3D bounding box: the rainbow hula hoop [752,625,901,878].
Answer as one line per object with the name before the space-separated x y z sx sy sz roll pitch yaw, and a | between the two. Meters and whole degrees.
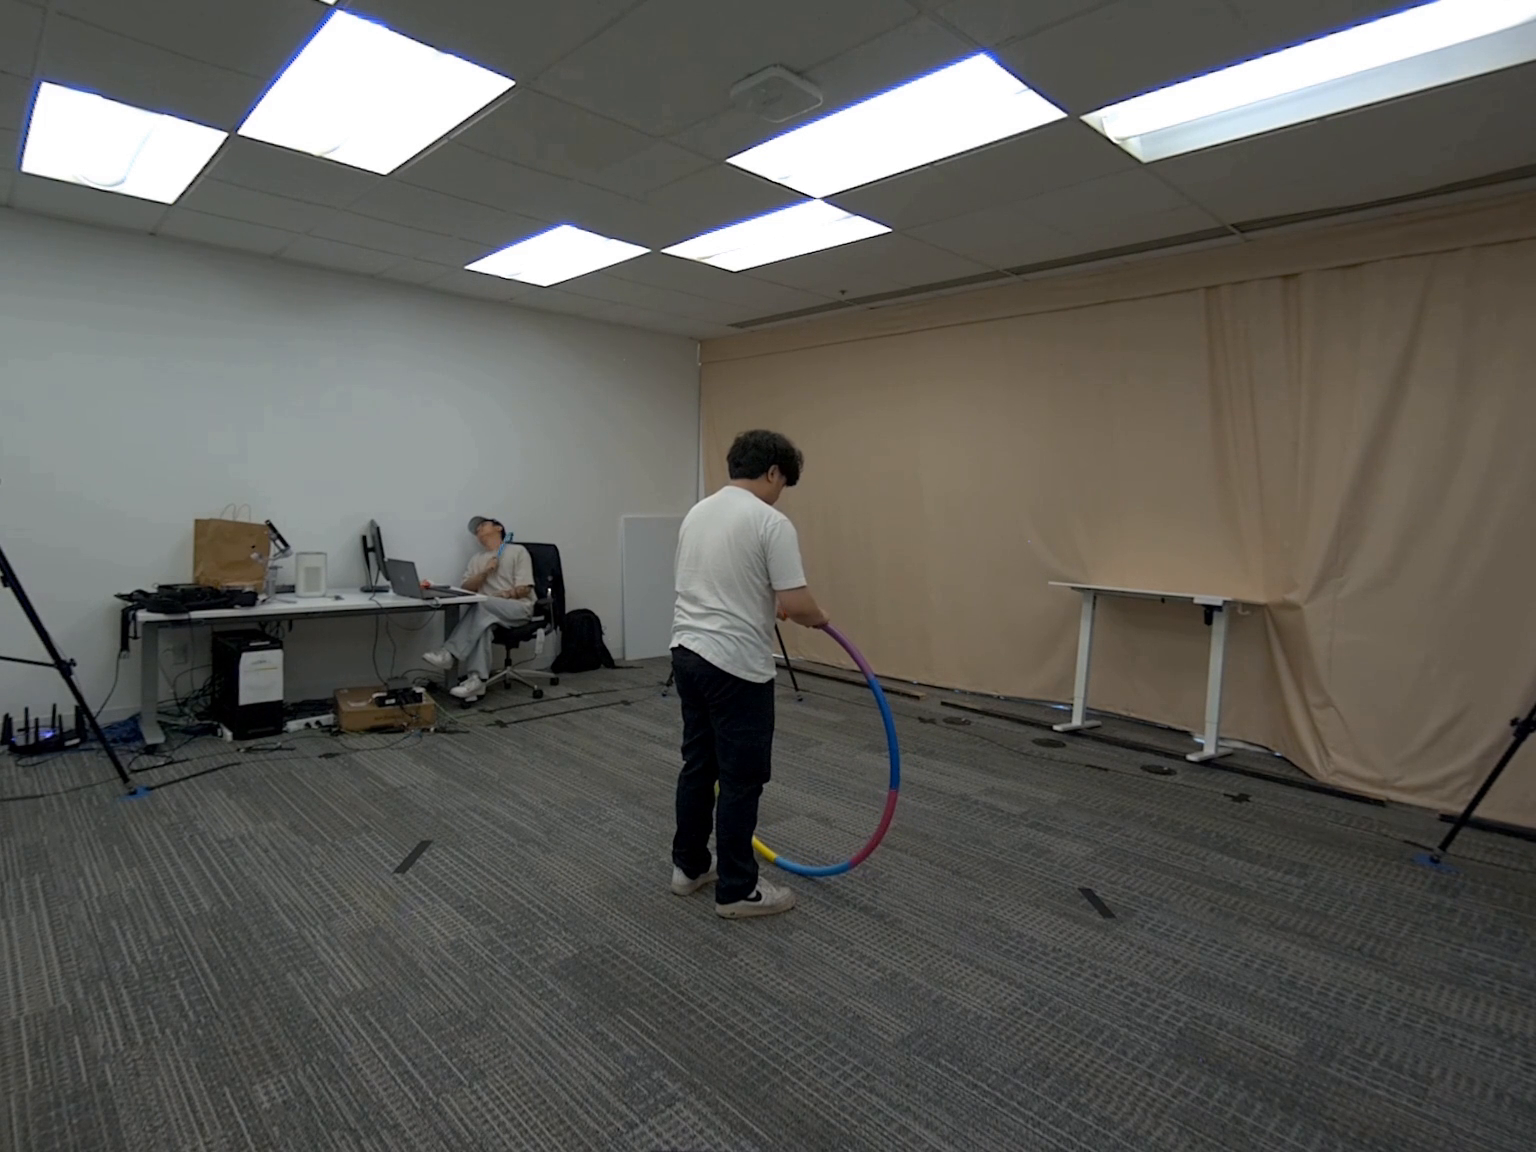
rainbow hula hoop | 0.074 0.615 3.142 0.050 0.982 1.011 -3 6 -45
